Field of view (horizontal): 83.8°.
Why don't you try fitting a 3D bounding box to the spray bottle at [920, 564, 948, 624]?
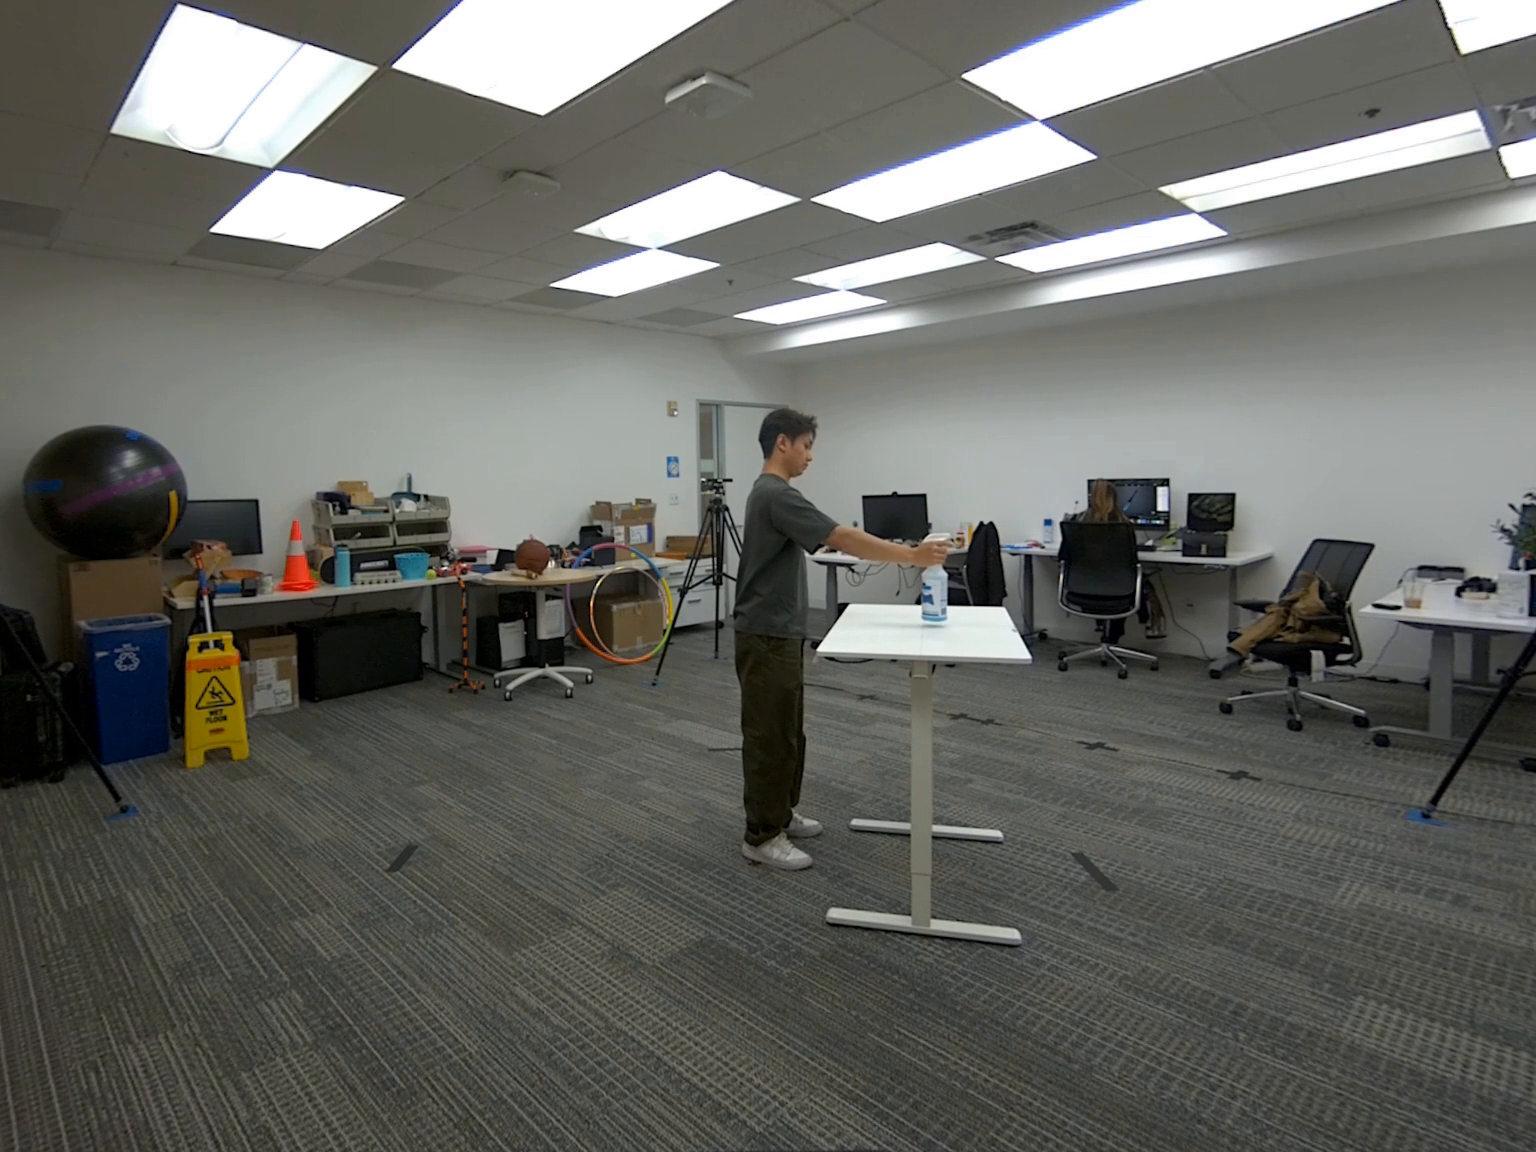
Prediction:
[{"bbox_3d":[0.571,0.005,2.914,0.092,0.296,0.085,2,4,27],"label":"spray bottle"}]
